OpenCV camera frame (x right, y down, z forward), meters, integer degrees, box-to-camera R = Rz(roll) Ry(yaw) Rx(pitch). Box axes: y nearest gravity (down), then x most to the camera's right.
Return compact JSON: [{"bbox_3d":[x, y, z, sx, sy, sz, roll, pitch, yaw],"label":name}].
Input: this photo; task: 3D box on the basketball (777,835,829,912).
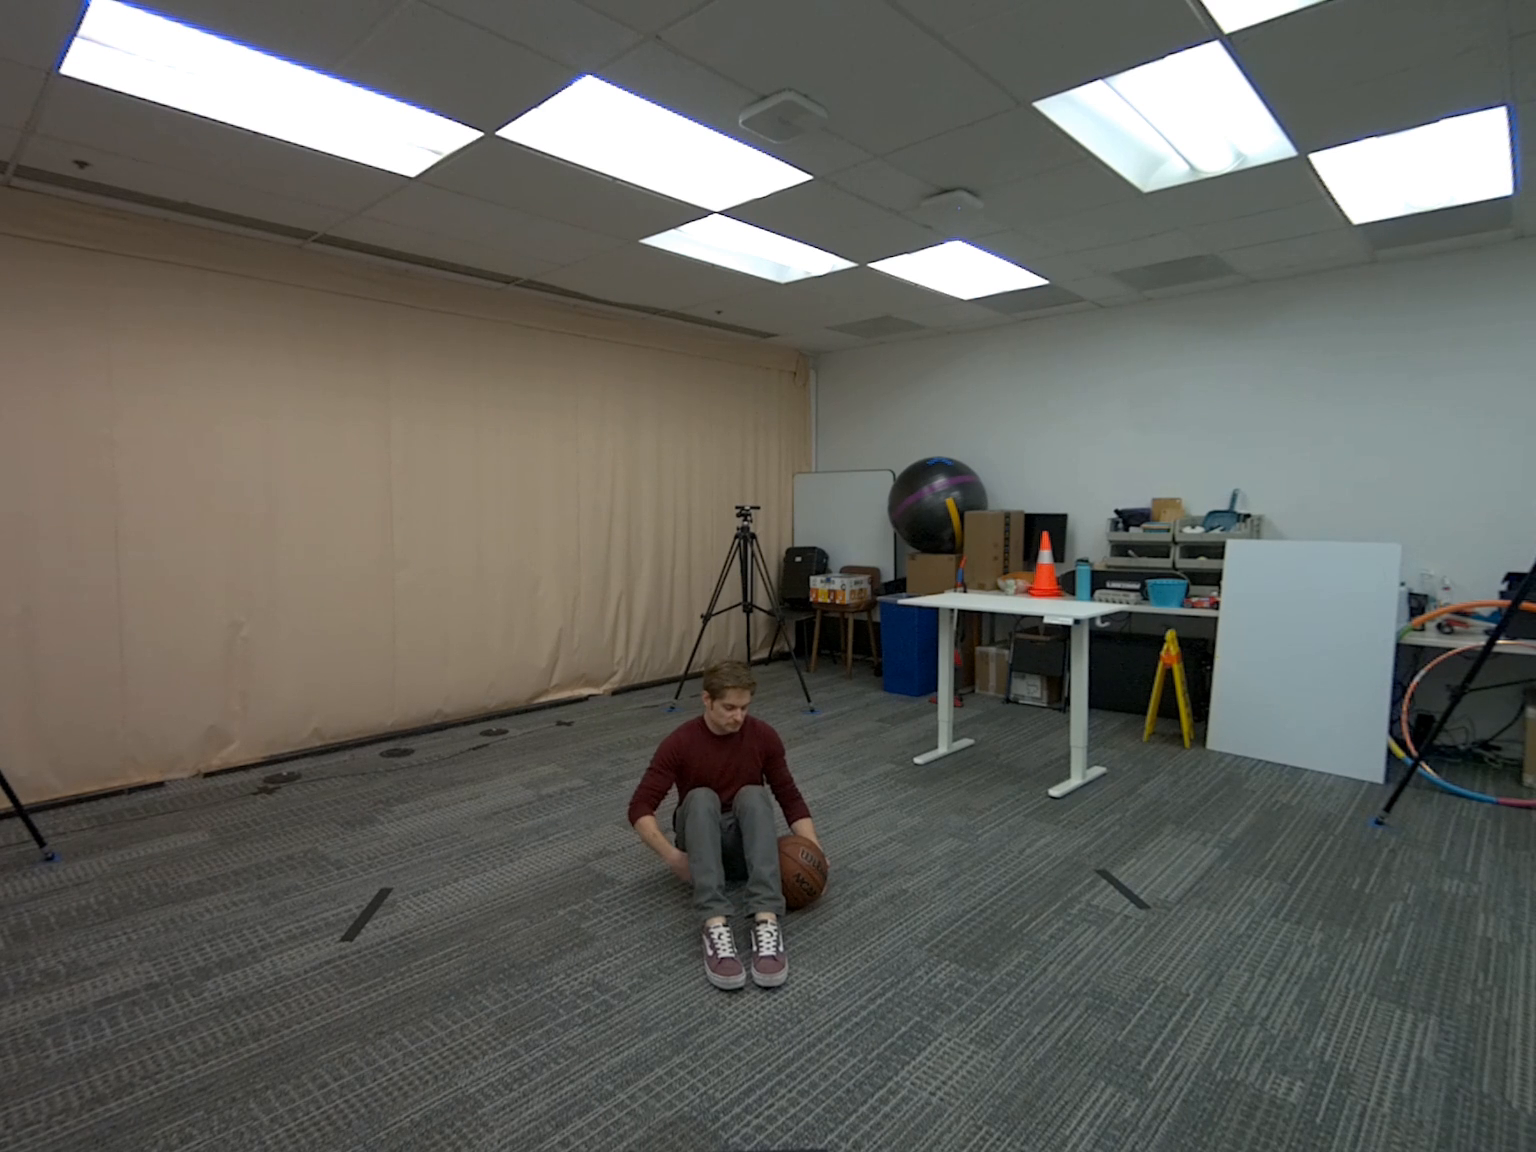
[{"bbox_3d":[0.078,1.030,2.937,0.236,0.235,0.237,0,4,-2],"label":"basketball"}]
